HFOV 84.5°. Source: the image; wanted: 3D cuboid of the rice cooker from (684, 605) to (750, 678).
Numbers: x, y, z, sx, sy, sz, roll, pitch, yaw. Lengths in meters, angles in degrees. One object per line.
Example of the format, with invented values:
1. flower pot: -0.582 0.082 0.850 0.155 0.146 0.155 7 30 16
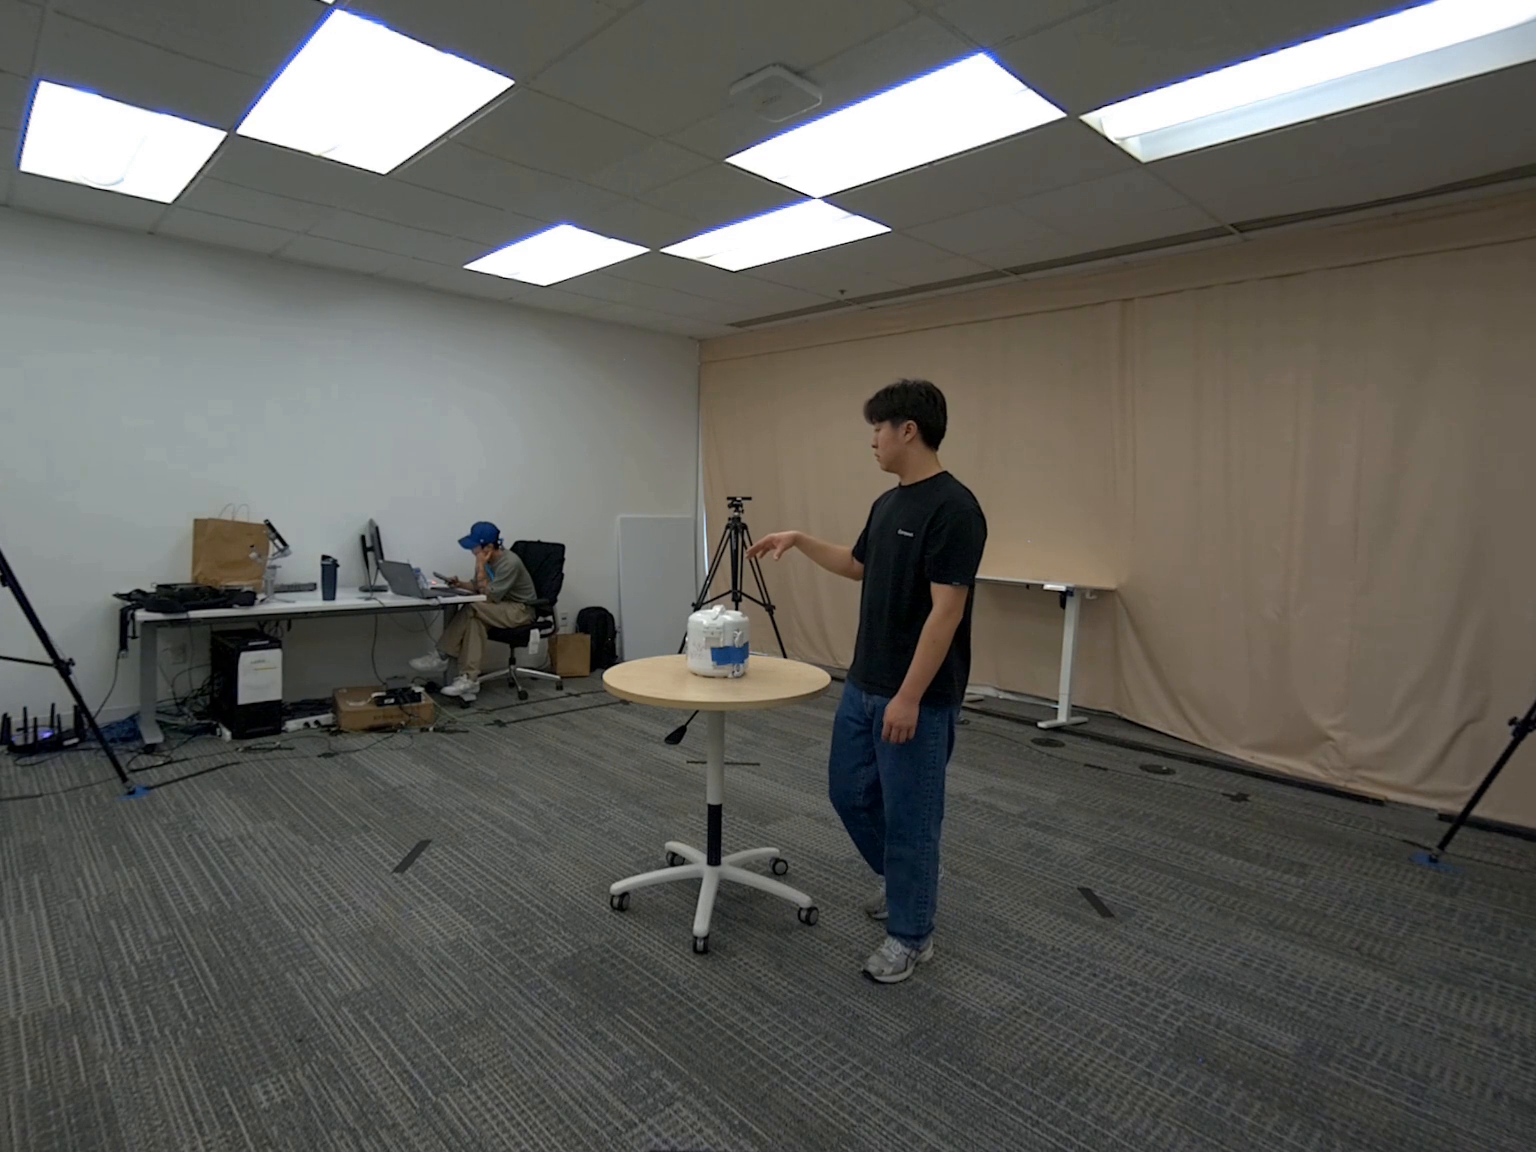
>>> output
1. rice cooker: -0.172 0.216 2.862 0.219 0.232 0.219 2 4 8
